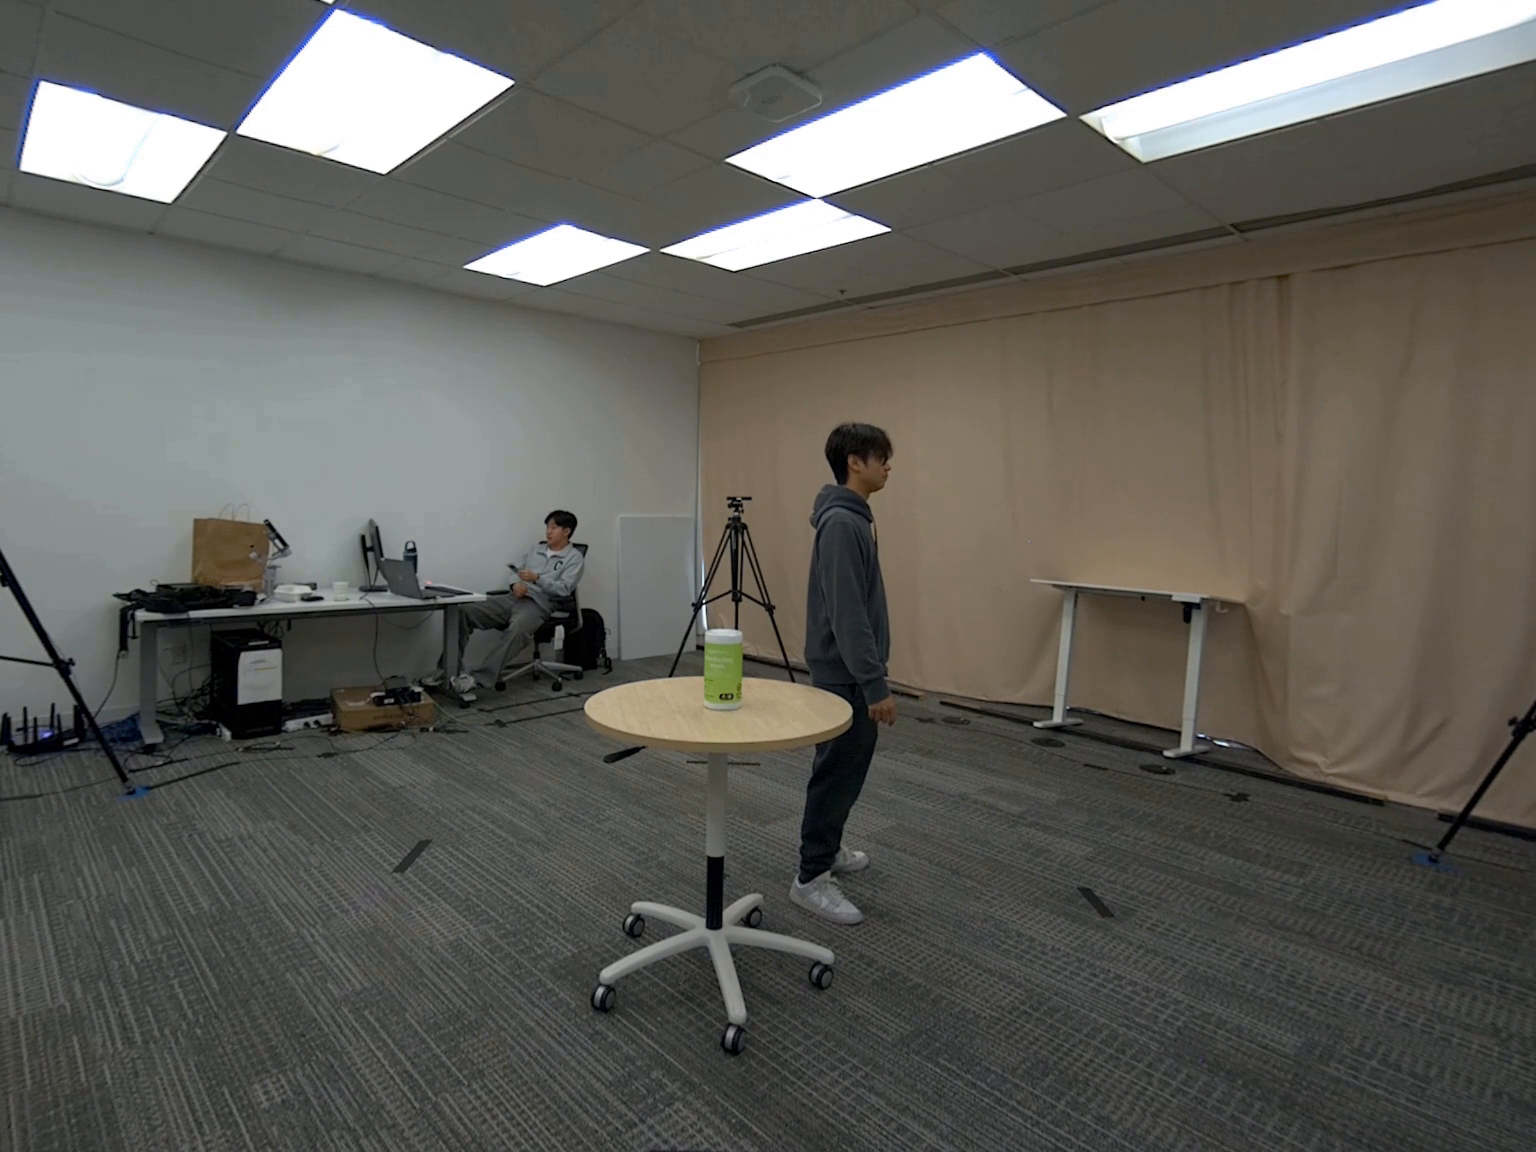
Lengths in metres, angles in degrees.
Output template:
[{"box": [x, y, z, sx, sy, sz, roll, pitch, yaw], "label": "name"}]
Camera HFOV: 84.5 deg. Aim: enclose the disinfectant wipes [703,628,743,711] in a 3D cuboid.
[{"box": [-0.132, 0.268, 2.395, 0.118, 0.217, 0.118, 2, 2, -1], "label": "disinfectant wipes"}]
